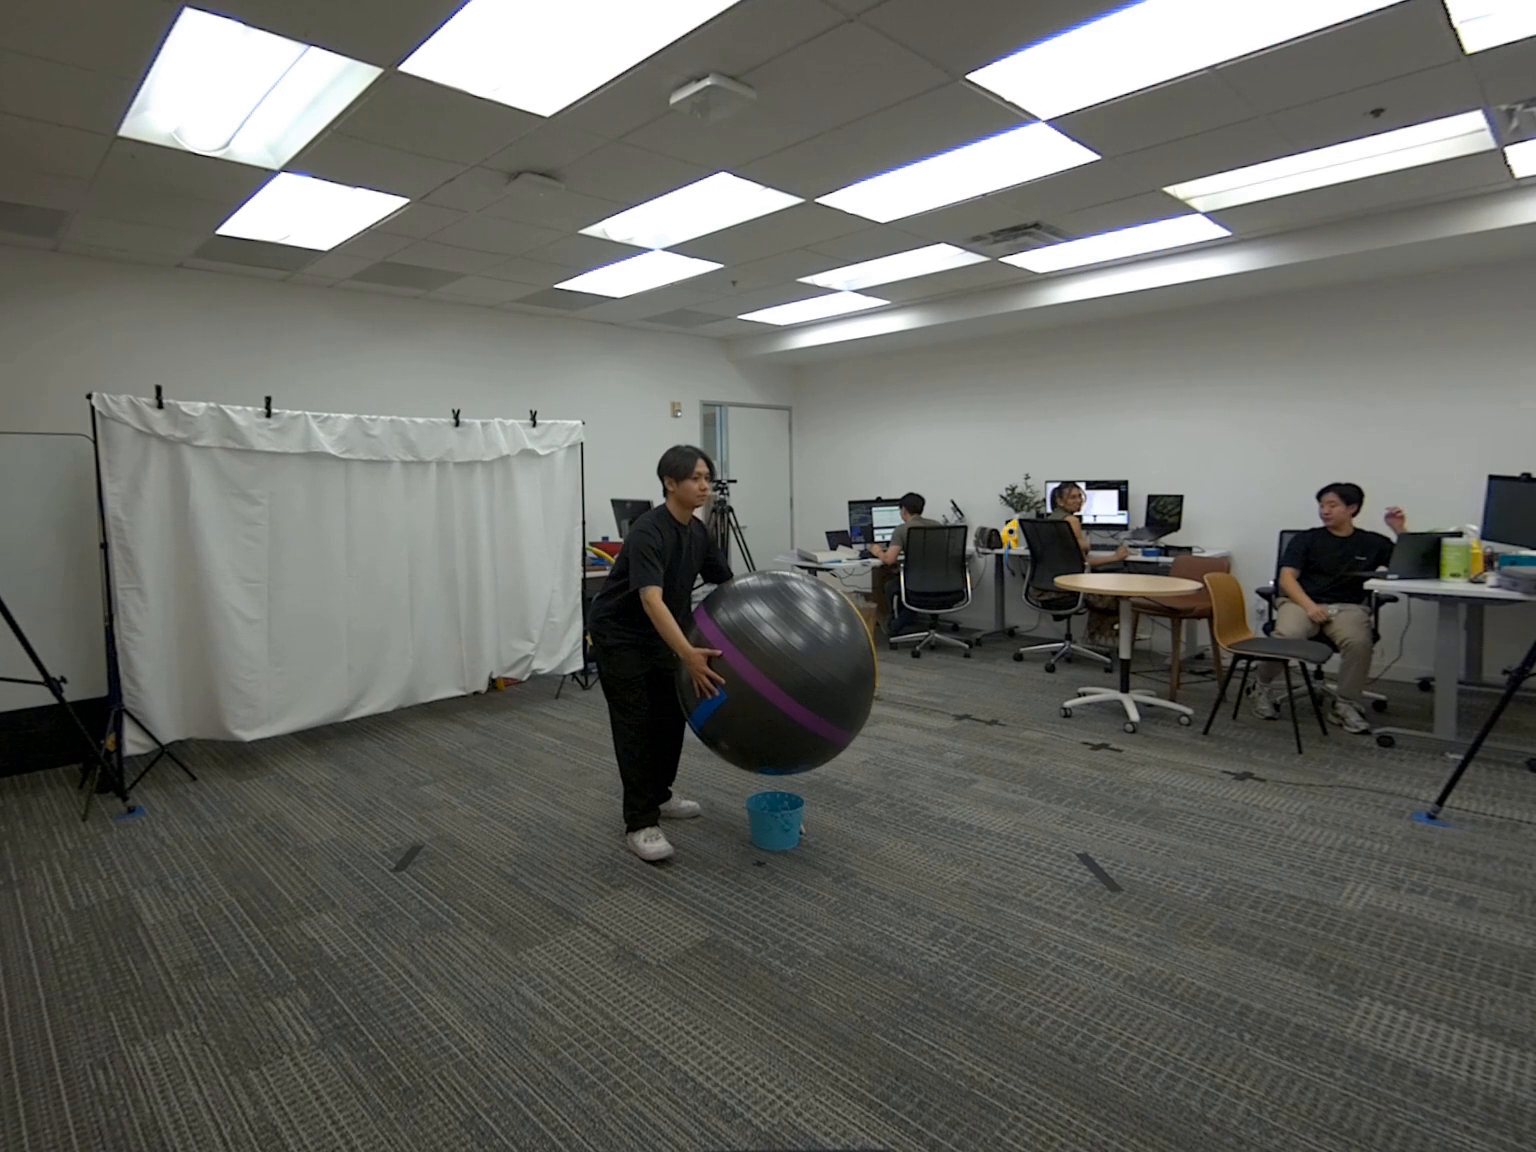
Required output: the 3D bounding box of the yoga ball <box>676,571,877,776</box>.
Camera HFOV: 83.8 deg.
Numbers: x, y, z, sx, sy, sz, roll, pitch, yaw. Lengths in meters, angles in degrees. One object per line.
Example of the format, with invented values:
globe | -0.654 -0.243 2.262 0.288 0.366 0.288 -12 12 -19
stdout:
yoga ball | 0.036 0.362 3.213 0.757 0.755 0.762 -1 5 -2
